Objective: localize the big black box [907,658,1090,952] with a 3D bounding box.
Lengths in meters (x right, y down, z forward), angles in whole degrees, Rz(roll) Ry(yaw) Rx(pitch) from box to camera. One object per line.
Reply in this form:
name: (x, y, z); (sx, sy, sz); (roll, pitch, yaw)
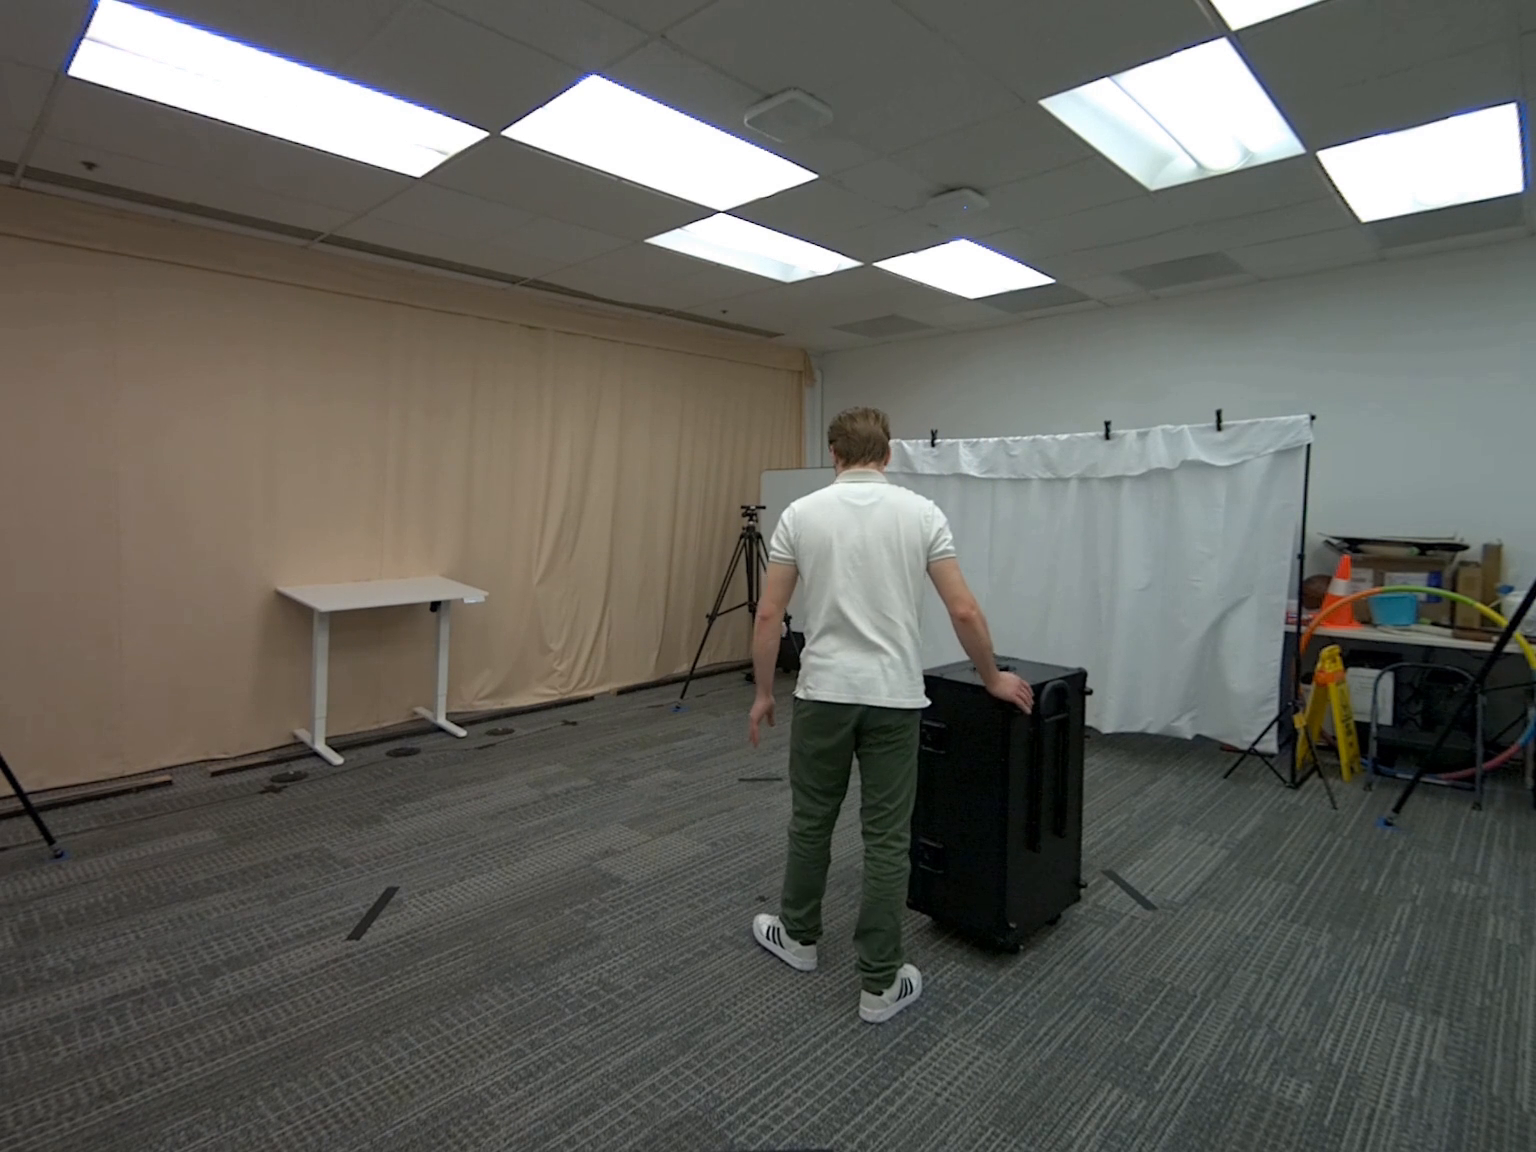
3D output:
big black box: (0.770, 0.737, 2.779); (0.507, 0.866, 0.398); (-4, 5, -43)
